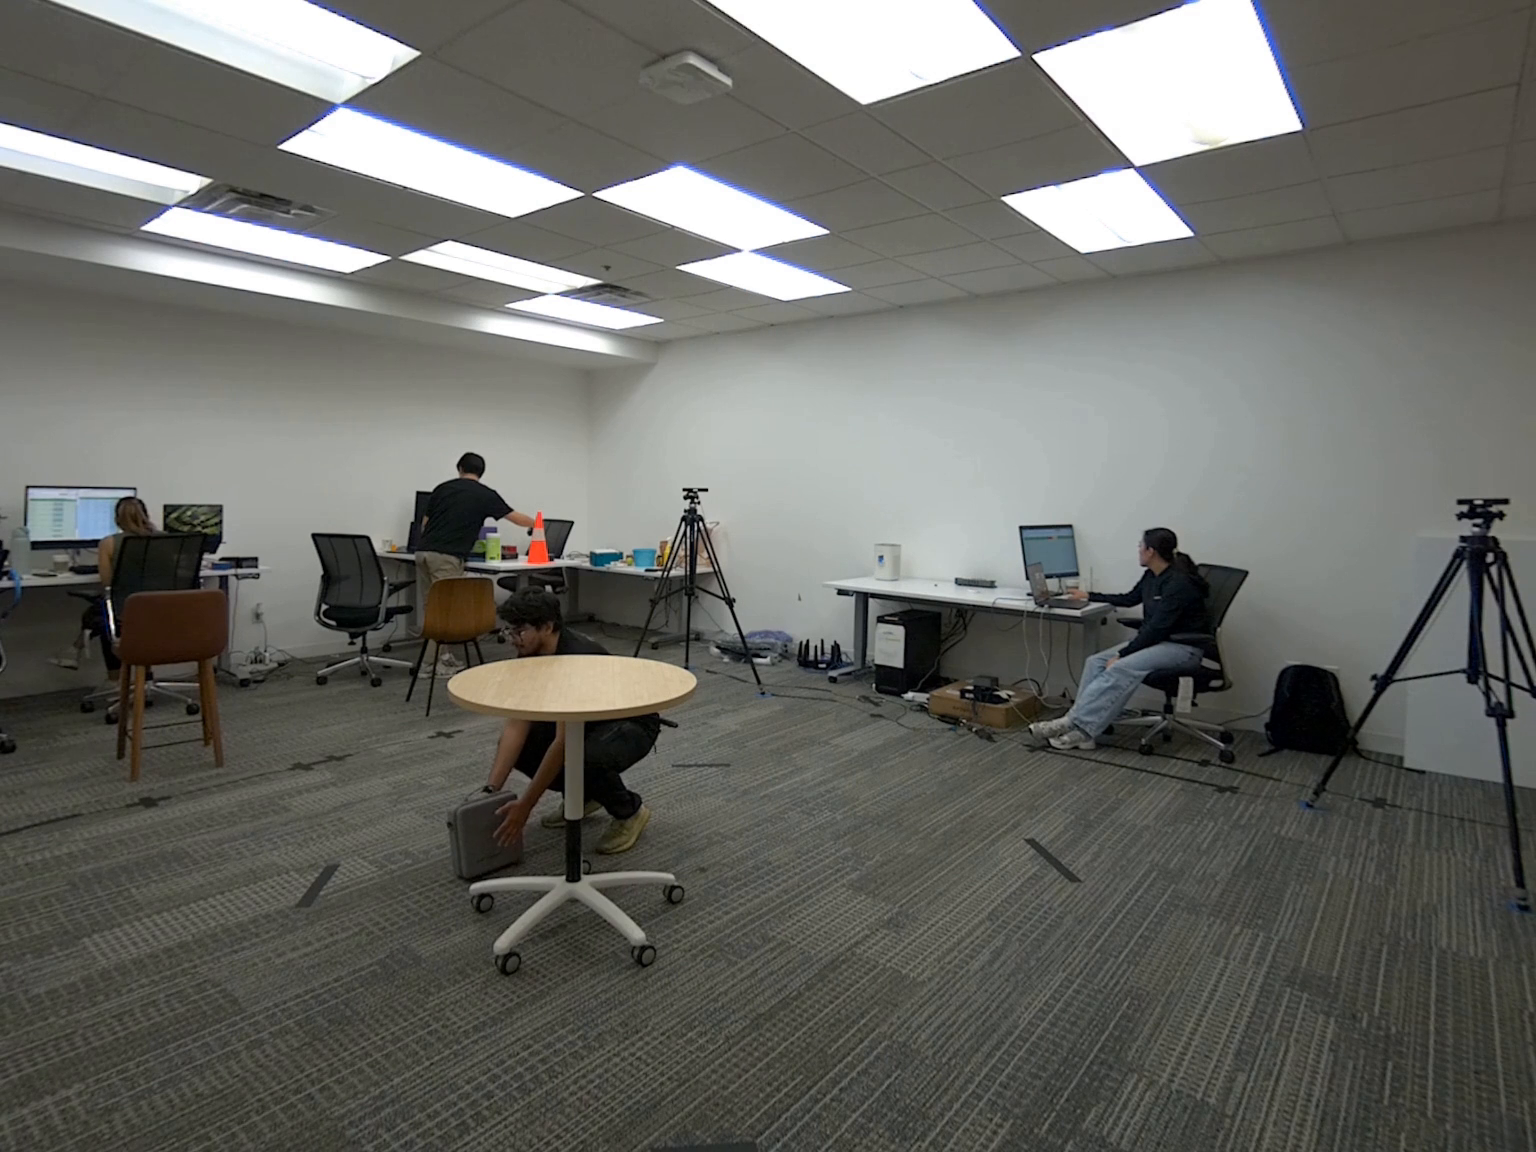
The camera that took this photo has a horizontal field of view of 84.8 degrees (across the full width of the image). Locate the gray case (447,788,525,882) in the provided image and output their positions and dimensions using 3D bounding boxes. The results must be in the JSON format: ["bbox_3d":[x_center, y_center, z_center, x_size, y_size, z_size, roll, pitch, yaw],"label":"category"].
[{"bbox_3d":[-1.046,0.926,3.091,0.107,0.262,0.249,-11,-4,43],"label":"gray case"}]
